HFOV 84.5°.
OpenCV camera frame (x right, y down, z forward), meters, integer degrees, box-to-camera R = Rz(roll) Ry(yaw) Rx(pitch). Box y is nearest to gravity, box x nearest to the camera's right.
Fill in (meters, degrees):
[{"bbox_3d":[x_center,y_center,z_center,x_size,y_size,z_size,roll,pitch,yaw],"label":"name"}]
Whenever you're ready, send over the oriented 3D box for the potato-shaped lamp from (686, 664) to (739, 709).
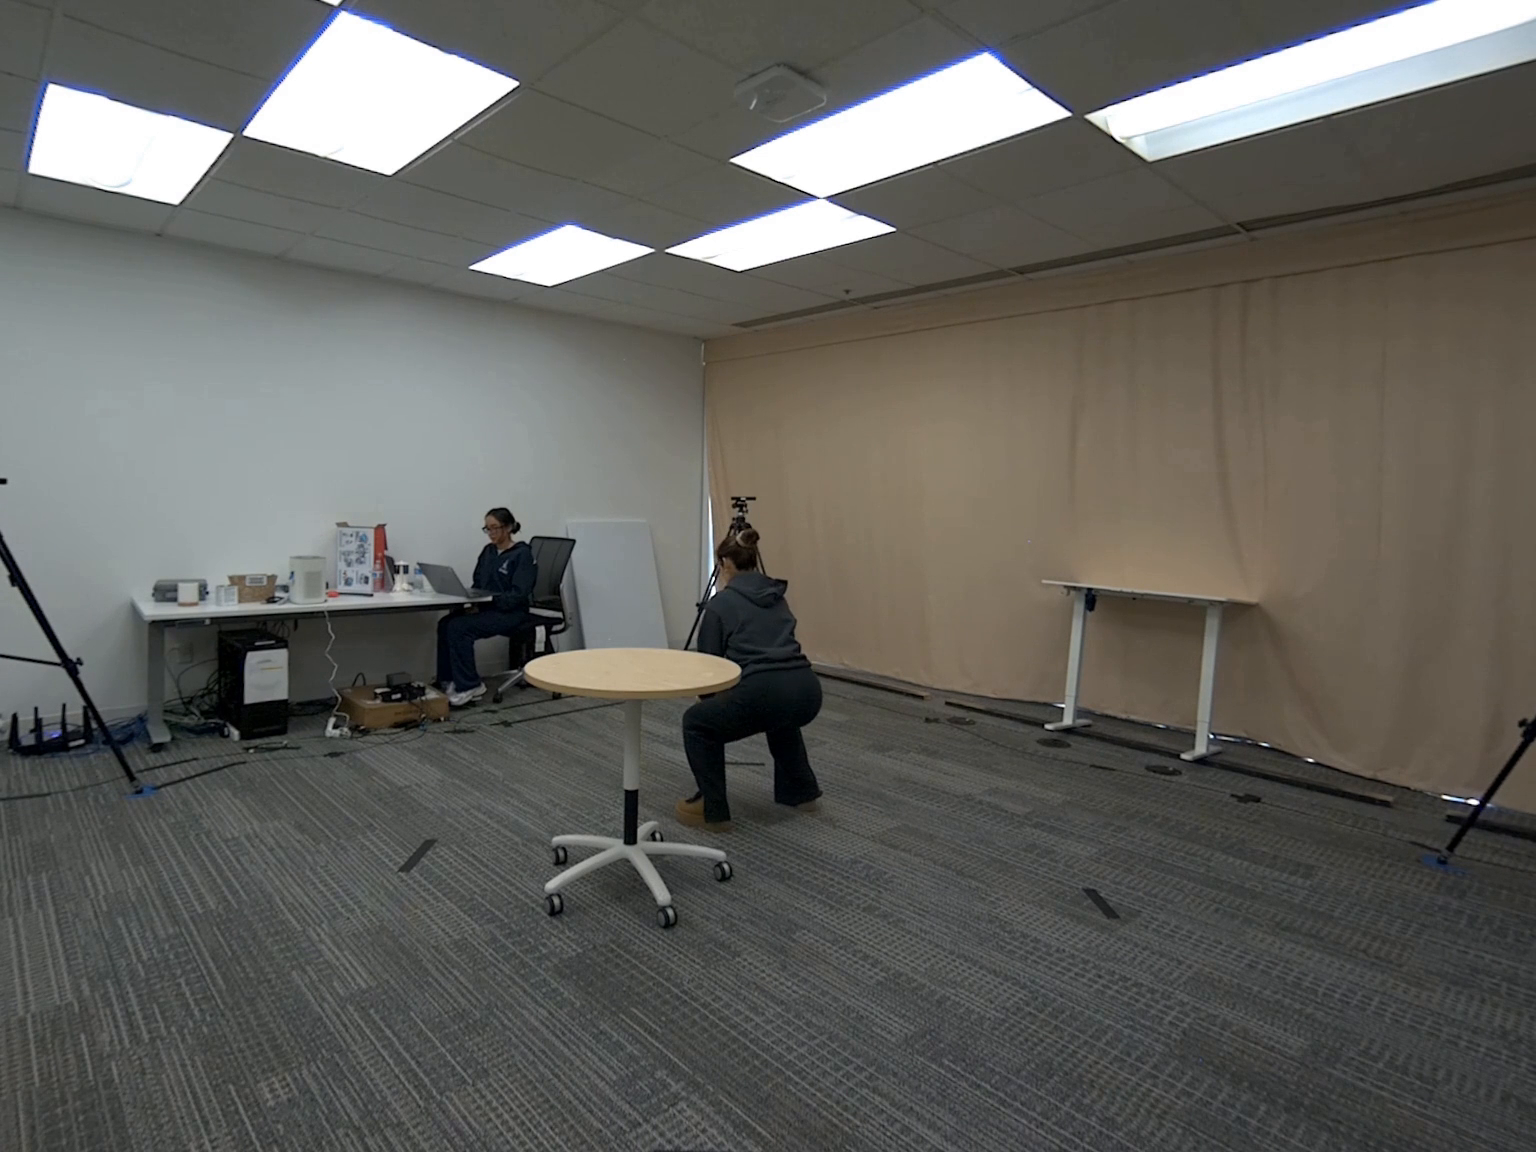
[{"bbox_3d":[-0.269,0.542,4.041,0.161,0.197,0.176,1,5,-38],"label":"potato-shaped lamp"}]
